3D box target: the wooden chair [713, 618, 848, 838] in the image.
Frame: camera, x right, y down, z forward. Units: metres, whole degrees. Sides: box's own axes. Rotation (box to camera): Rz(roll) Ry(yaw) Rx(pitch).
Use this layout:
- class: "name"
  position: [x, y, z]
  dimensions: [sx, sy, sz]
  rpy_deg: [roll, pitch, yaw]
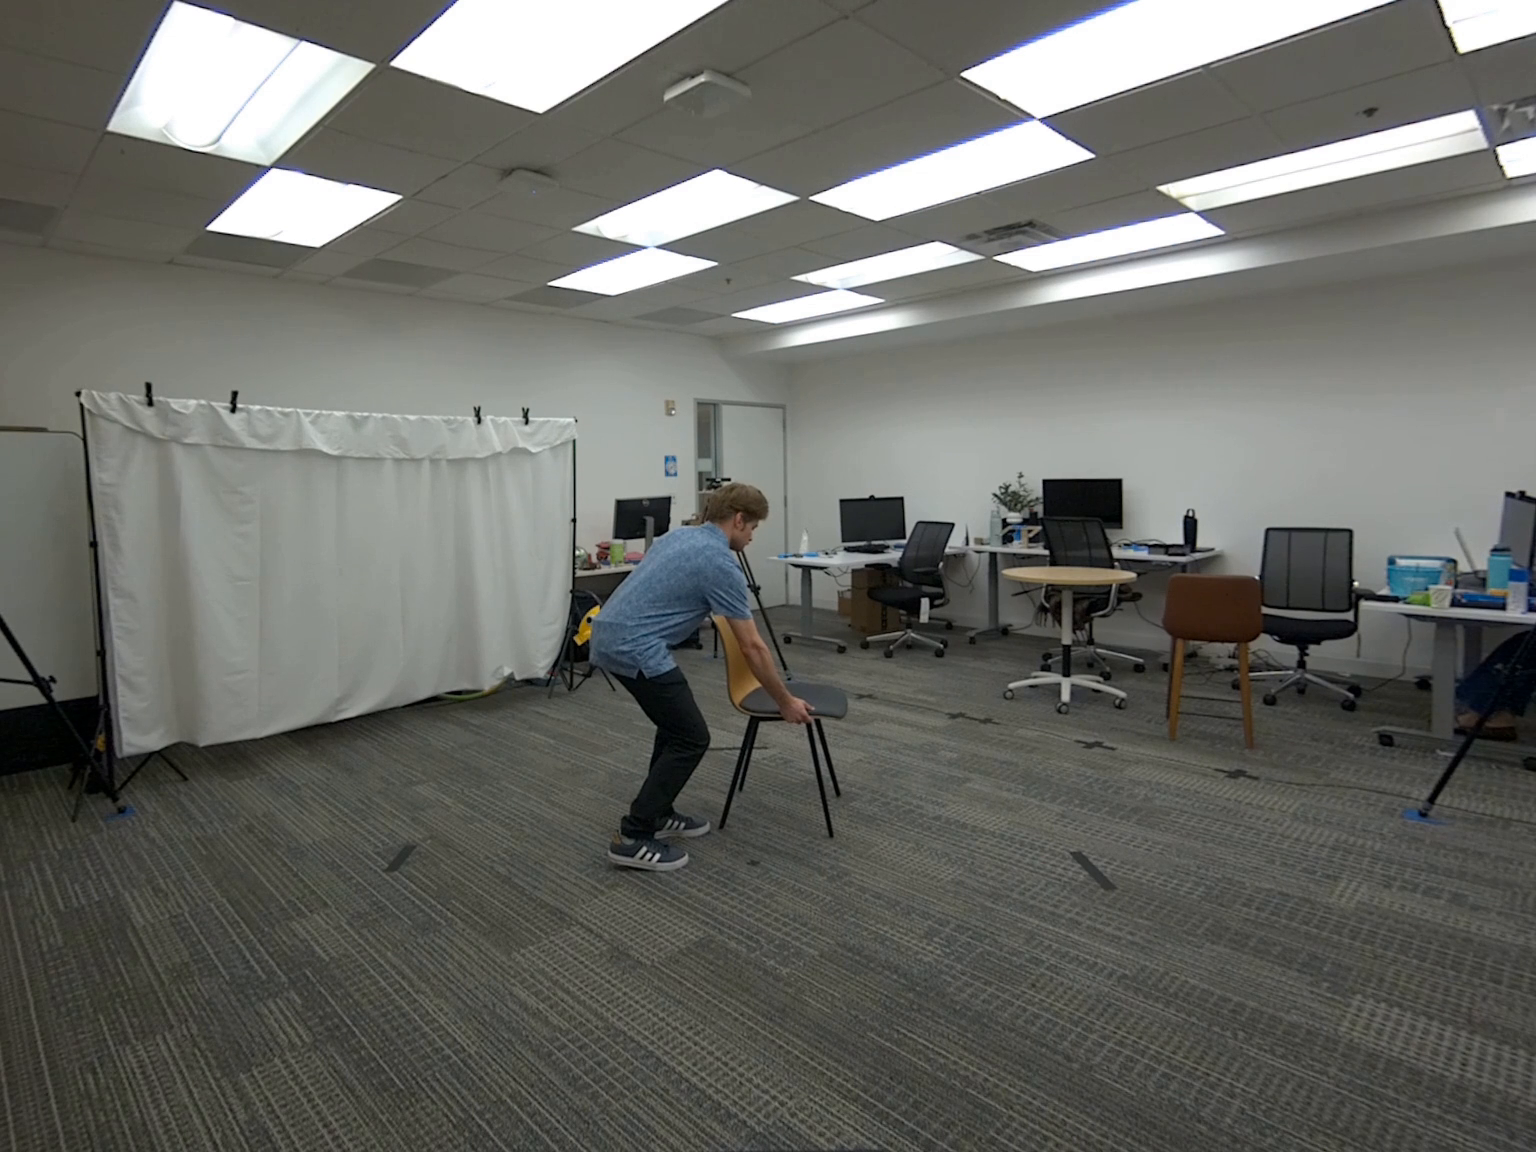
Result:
- class: "wooden chair"
  position: [0.067, 0.562, 3.543]
  dimensions: [0.529, 0.875, 0.474]
  rpy_deg: [-3, 3, 11]
